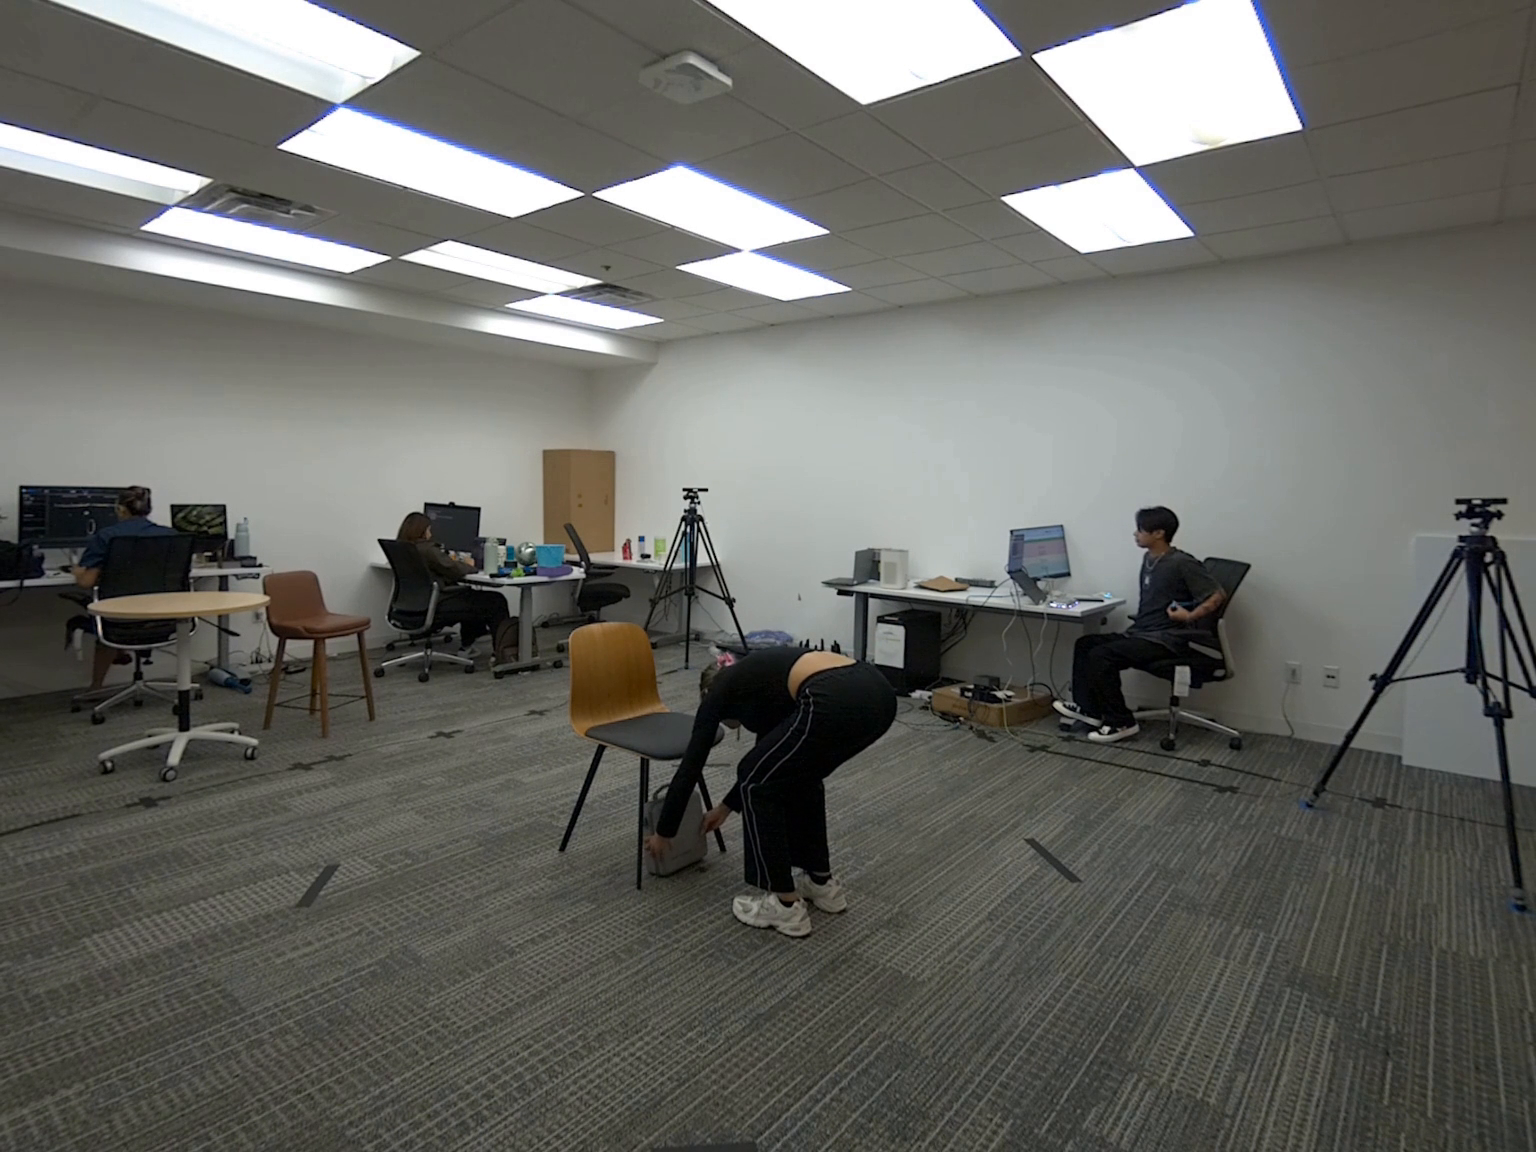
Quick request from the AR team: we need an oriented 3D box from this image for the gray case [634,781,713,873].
[{"bbox_3d":[-0.354,0.927,3.139,0.107,0.262,0.249,-15,-8,40],"label":"gray case"}]
